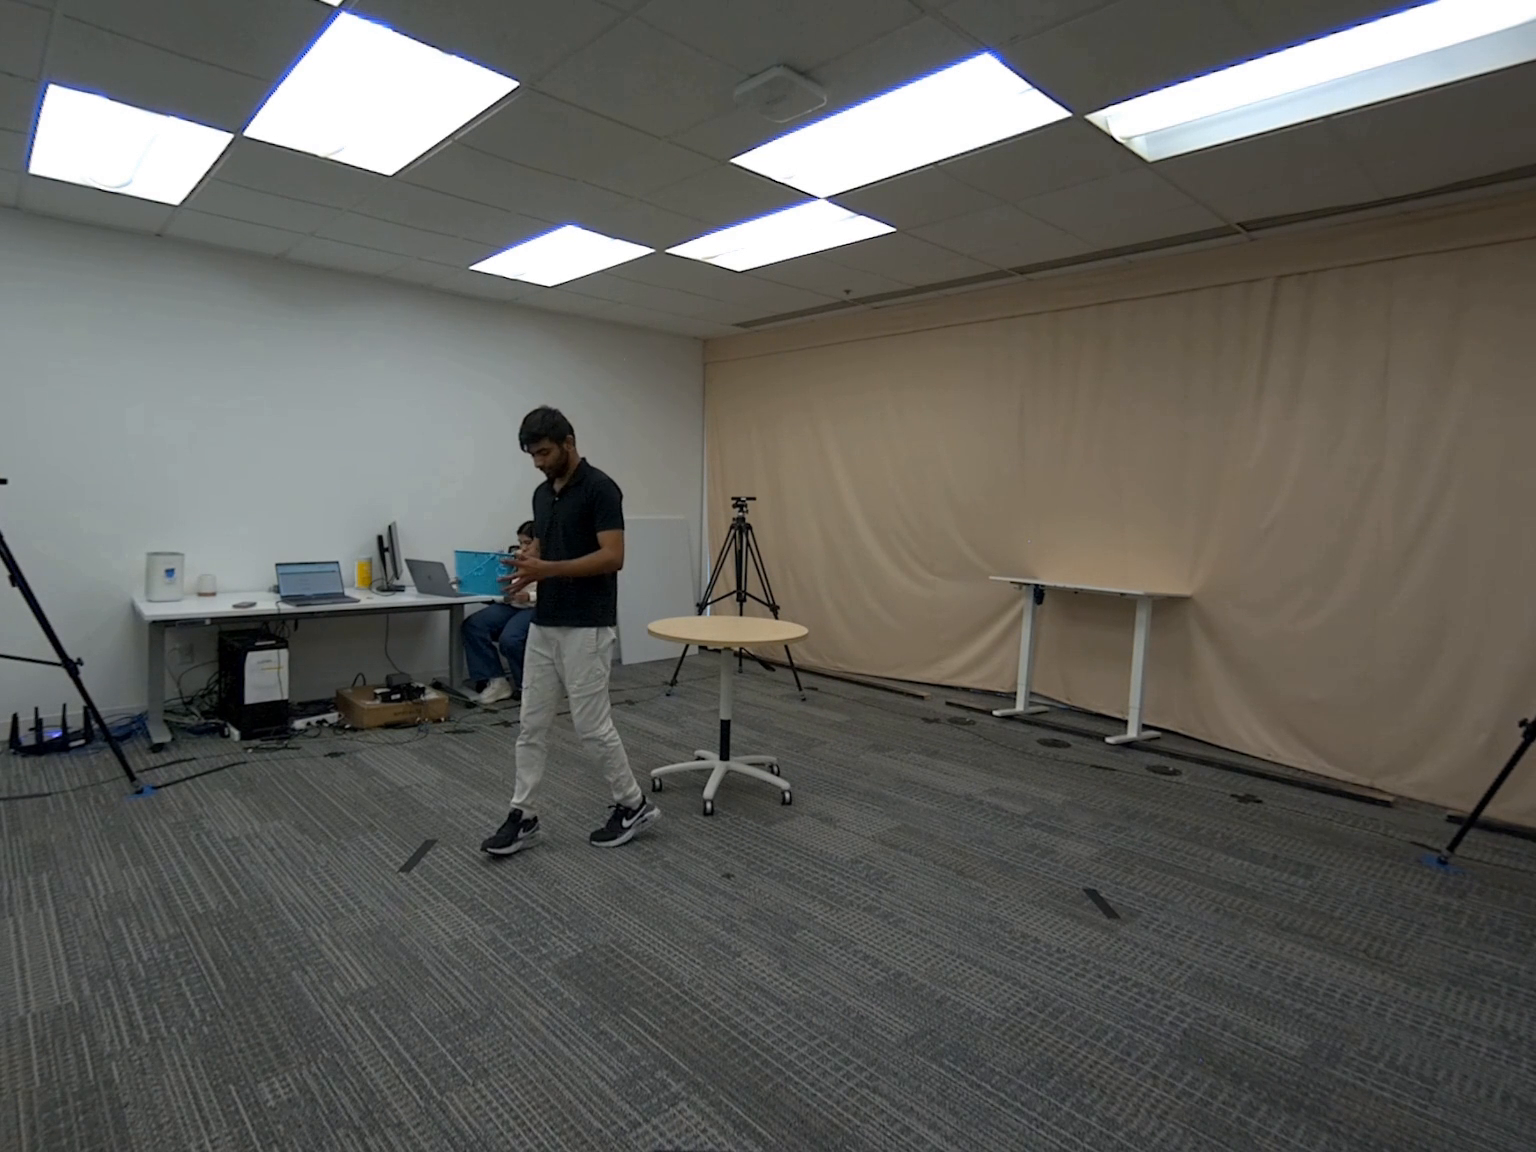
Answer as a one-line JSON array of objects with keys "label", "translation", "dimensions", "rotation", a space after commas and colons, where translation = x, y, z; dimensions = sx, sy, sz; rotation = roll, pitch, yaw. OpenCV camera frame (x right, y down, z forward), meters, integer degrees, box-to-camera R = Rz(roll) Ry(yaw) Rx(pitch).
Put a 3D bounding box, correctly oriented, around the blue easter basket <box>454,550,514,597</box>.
[{"label": "blue easter basket", "translation": [-1.039, -0.009, 3.047], "dimensions": [0.243, 0.156, 0.243], "rotation": [3, -1, -1]}]
